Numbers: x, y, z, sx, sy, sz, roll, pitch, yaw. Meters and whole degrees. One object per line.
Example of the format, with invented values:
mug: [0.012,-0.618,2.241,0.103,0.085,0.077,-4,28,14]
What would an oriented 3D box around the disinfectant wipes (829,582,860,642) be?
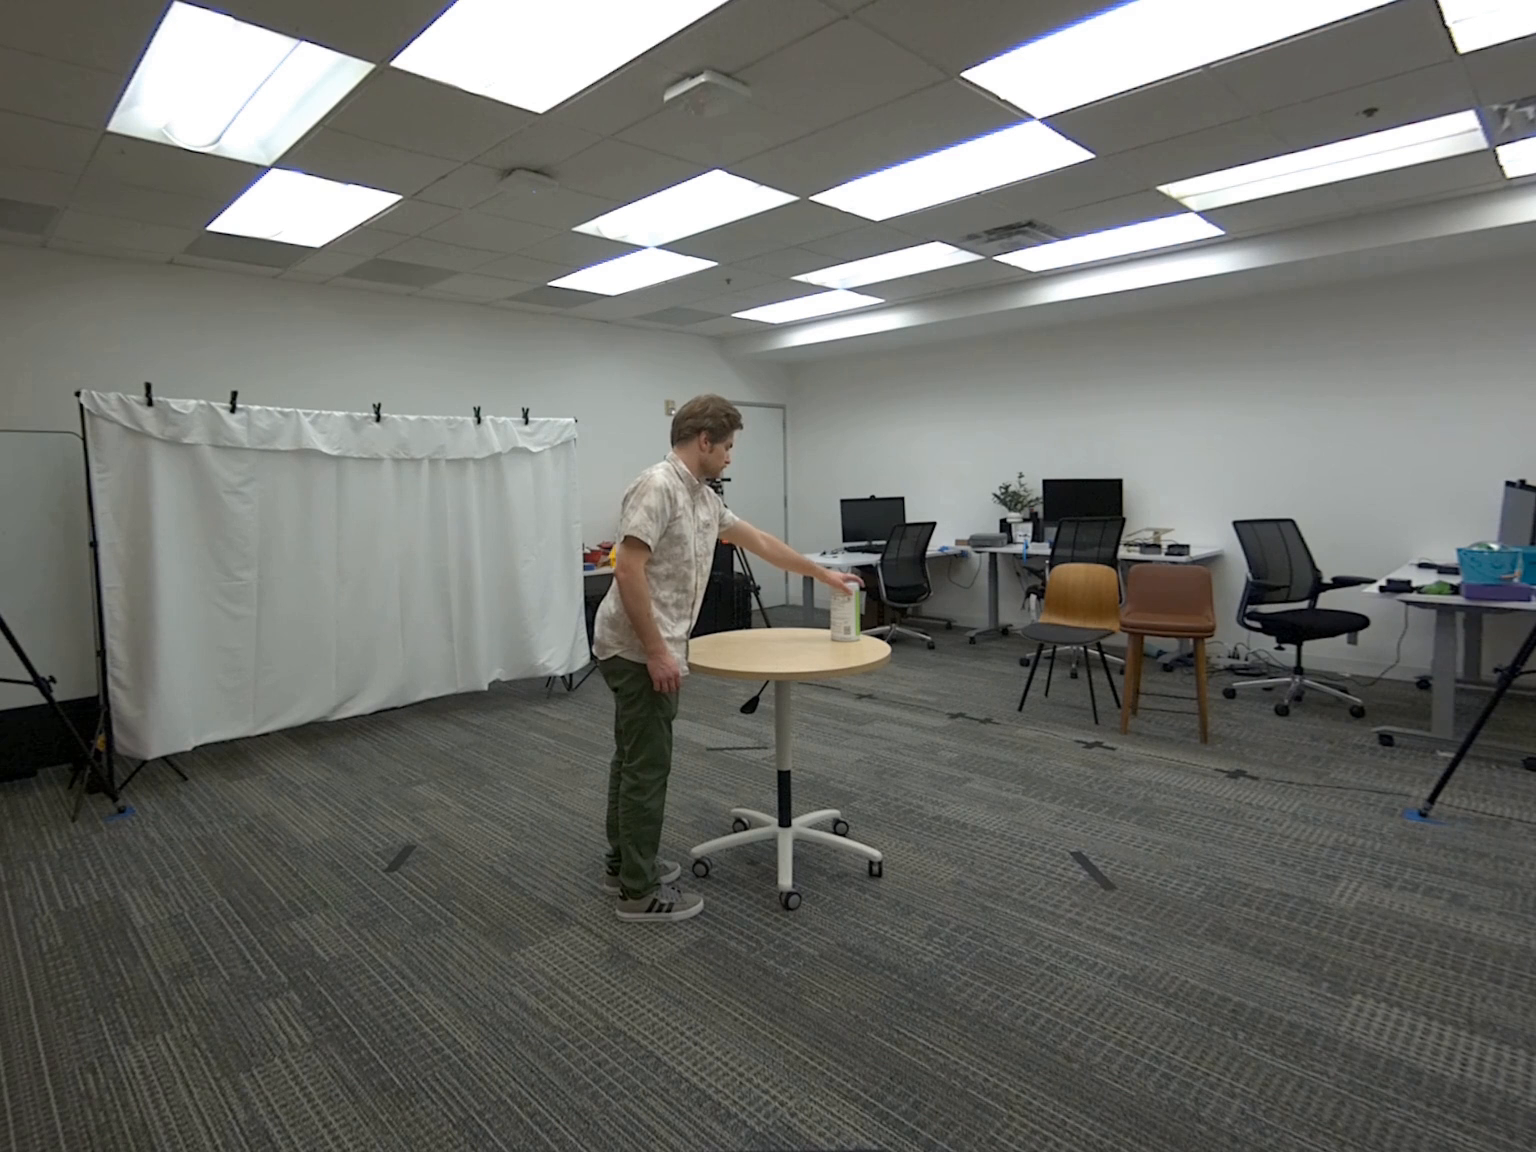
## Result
disinfectant wipes: [0.286,0.131,3.162,0.118,0.217,0.118,-3,1,-2]
